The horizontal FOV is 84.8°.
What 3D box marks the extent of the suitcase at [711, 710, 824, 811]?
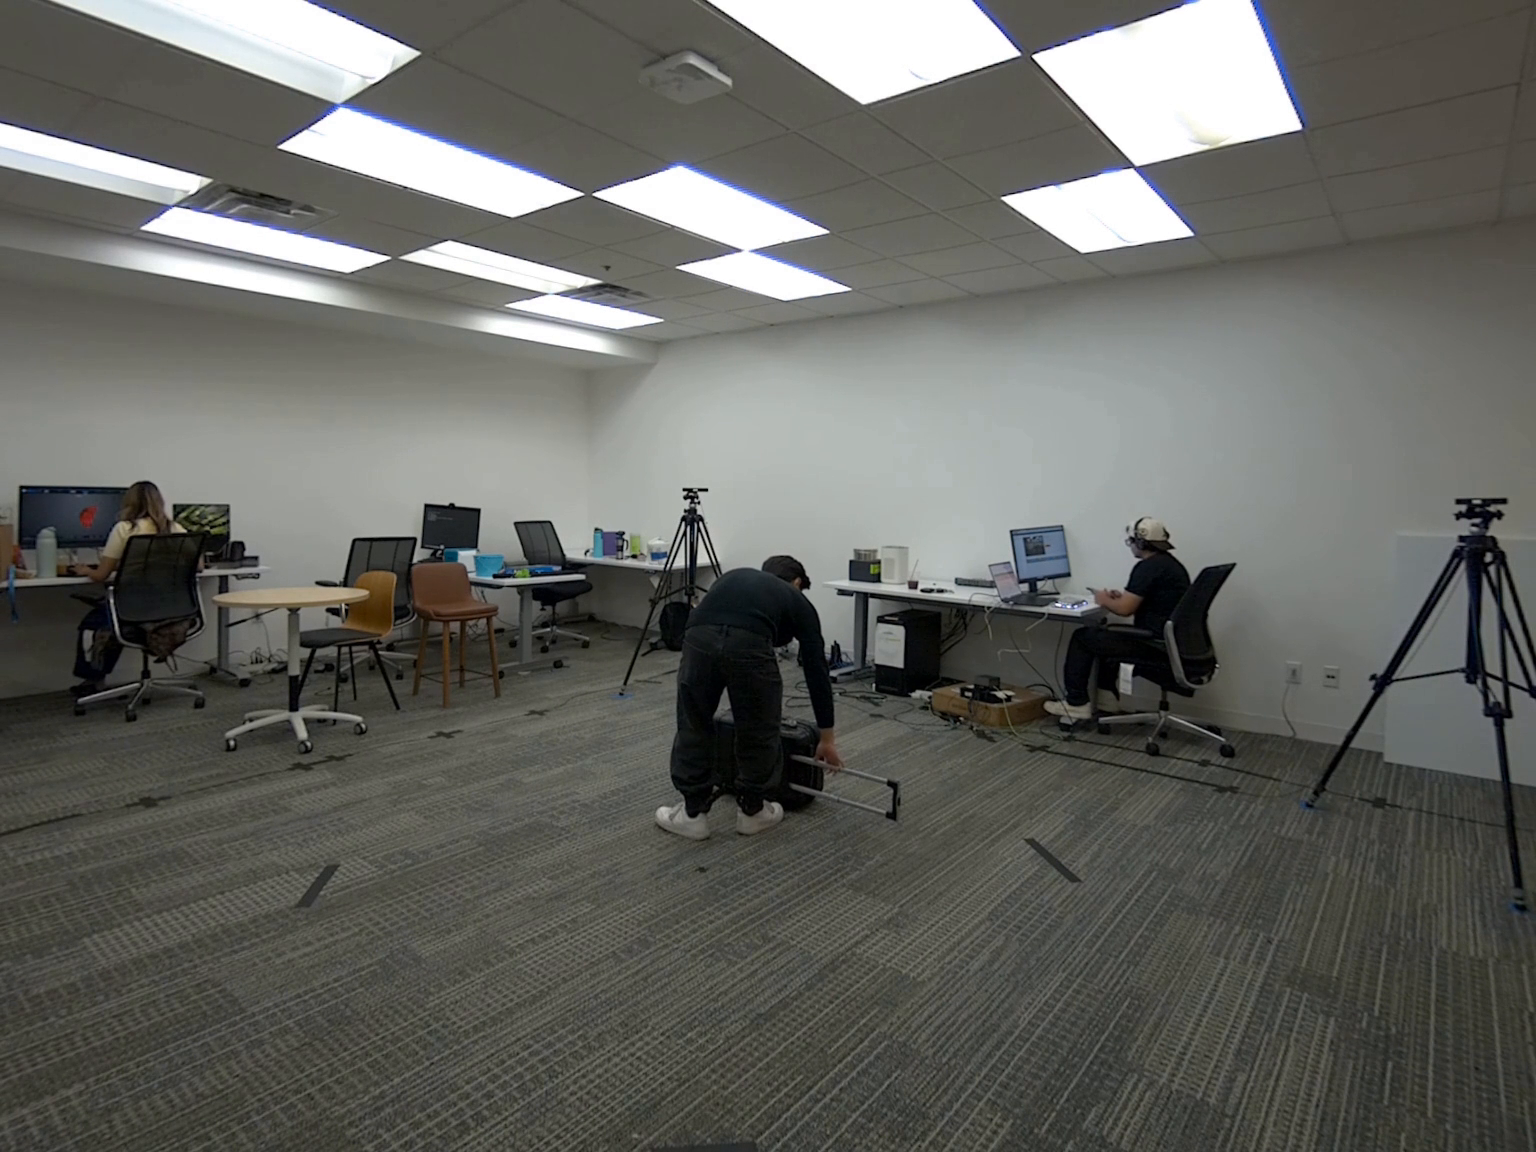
[{"bbox_3d":[0.145,0.826,3.753,1.010,0.382,0.250,5,6,34],"label":"suitcase"}]
